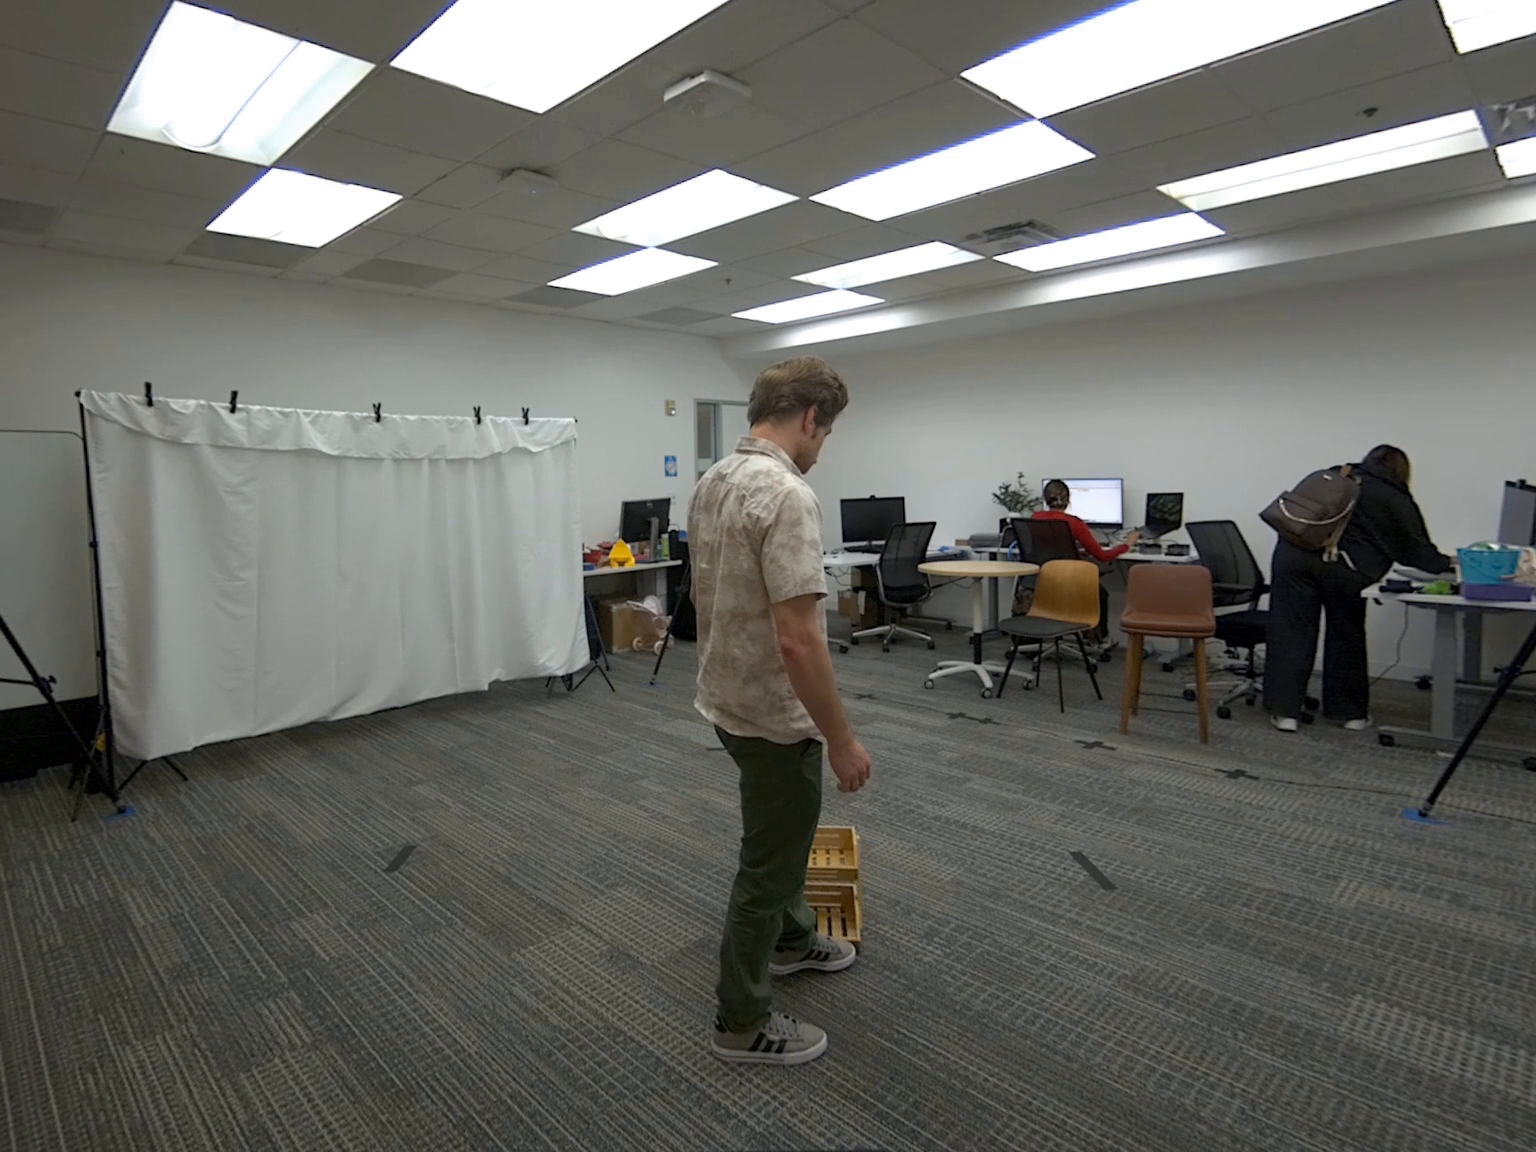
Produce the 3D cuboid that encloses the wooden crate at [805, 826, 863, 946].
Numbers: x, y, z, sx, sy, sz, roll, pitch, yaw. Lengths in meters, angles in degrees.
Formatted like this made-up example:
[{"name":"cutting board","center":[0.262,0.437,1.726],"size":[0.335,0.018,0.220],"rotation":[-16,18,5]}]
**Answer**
[{"name":"wooden crate","center":[0.135,0.964,2.639],"size":[0.326,0.272,0.302],"rotation":[-1,6,3]}]
